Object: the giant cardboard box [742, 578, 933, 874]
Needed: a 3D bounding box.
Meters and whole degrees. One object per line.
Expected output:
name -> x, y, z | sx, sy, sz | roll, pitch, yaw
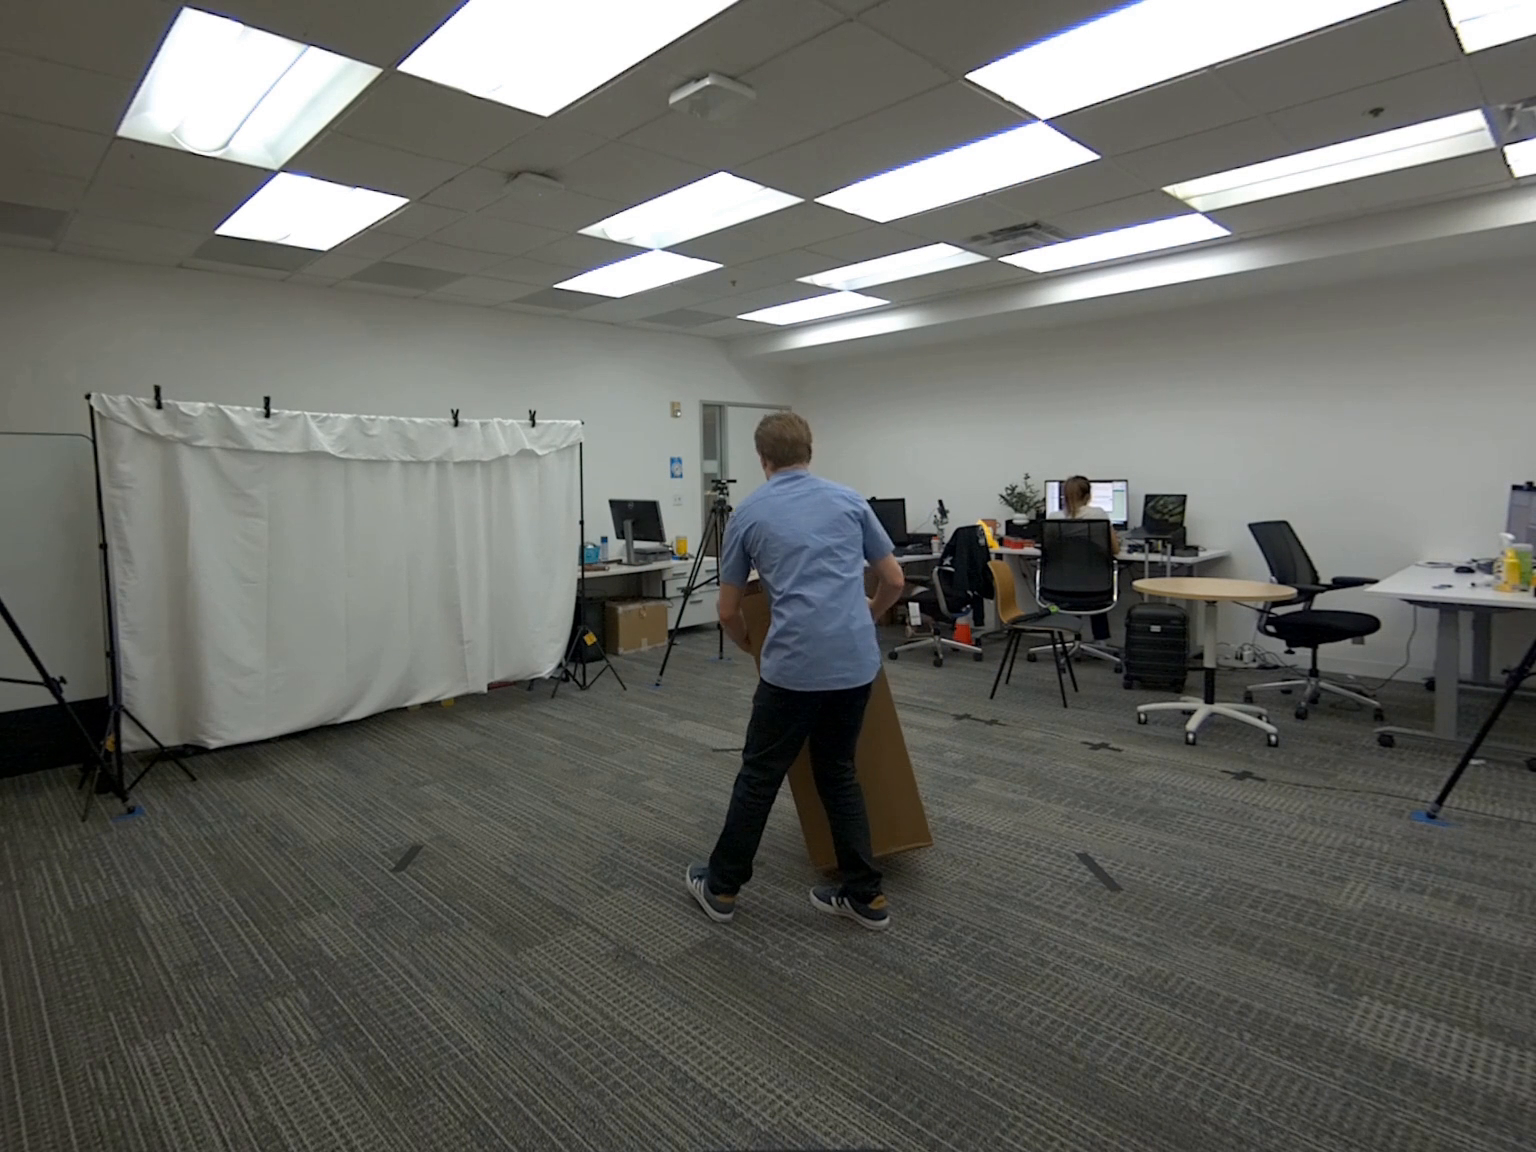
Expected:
giant cardboard box -> 0.240, 0.449, 3.177 | 0.449, 1.027, 0.581 | -15, 0, 5
